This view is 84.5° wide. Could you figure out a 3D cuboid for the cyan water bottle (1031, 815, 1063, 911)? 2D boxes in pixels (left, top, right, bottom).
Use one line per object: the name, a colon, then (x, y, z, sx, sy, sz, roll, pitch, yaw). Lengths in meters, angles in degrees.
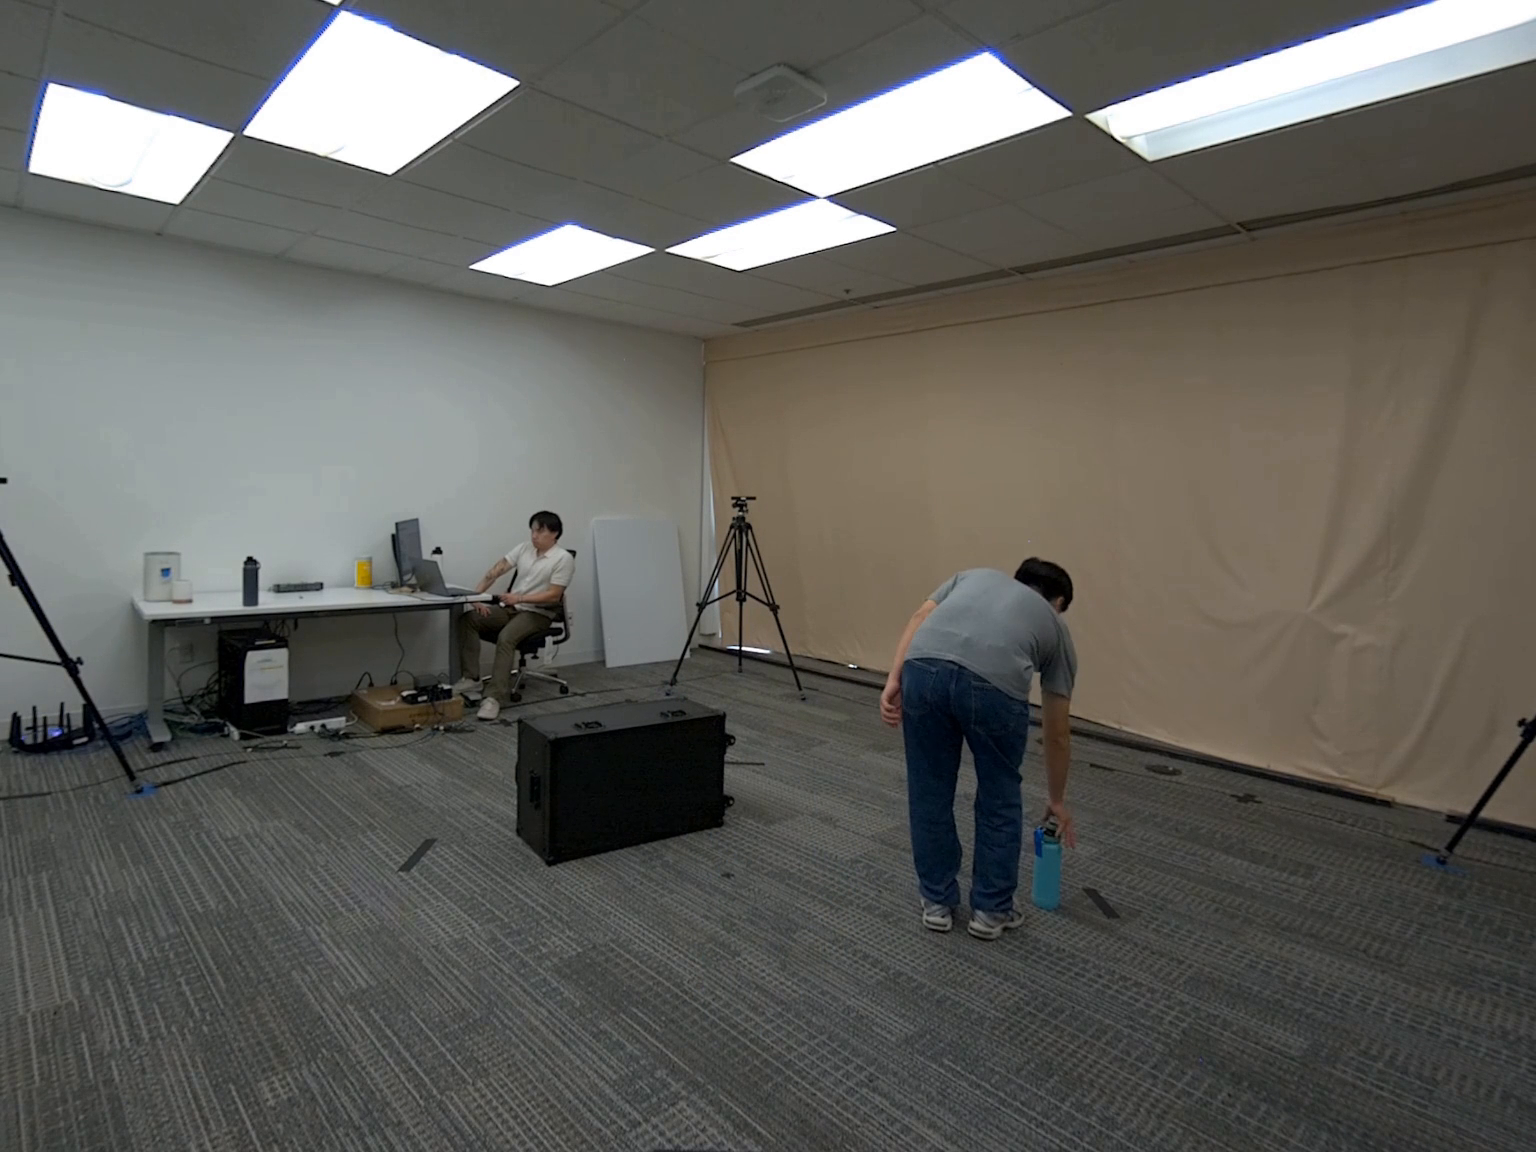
cyan water bottle: (0.975, 1.012, 2.946, 0.092, 0.282, 0.092, 1, 4, -1)
